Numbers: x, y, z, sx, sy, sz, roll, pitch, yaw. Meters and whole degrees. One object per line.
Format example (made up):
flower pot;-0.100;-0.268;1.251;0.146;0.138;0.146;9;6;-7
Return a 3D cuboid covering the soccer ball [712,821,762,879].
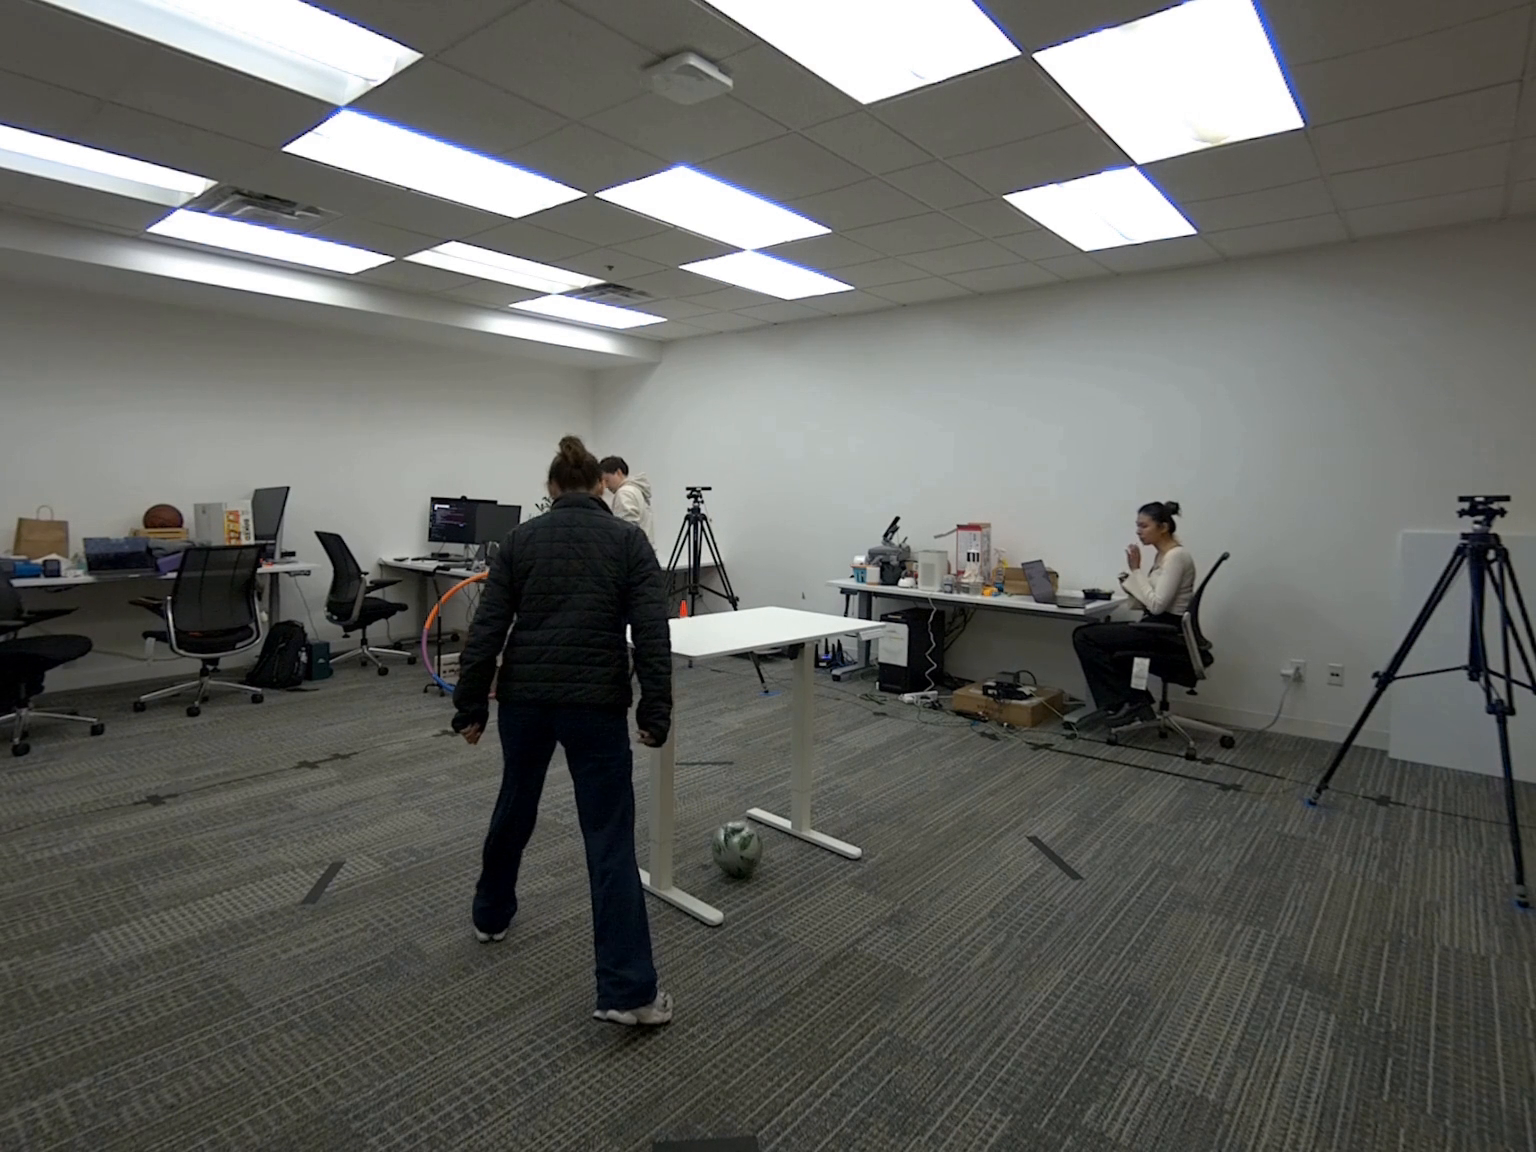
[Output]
soccer ball;-0.118;0.979;3.068;0.187;0.187;0.188;1;4;-2
